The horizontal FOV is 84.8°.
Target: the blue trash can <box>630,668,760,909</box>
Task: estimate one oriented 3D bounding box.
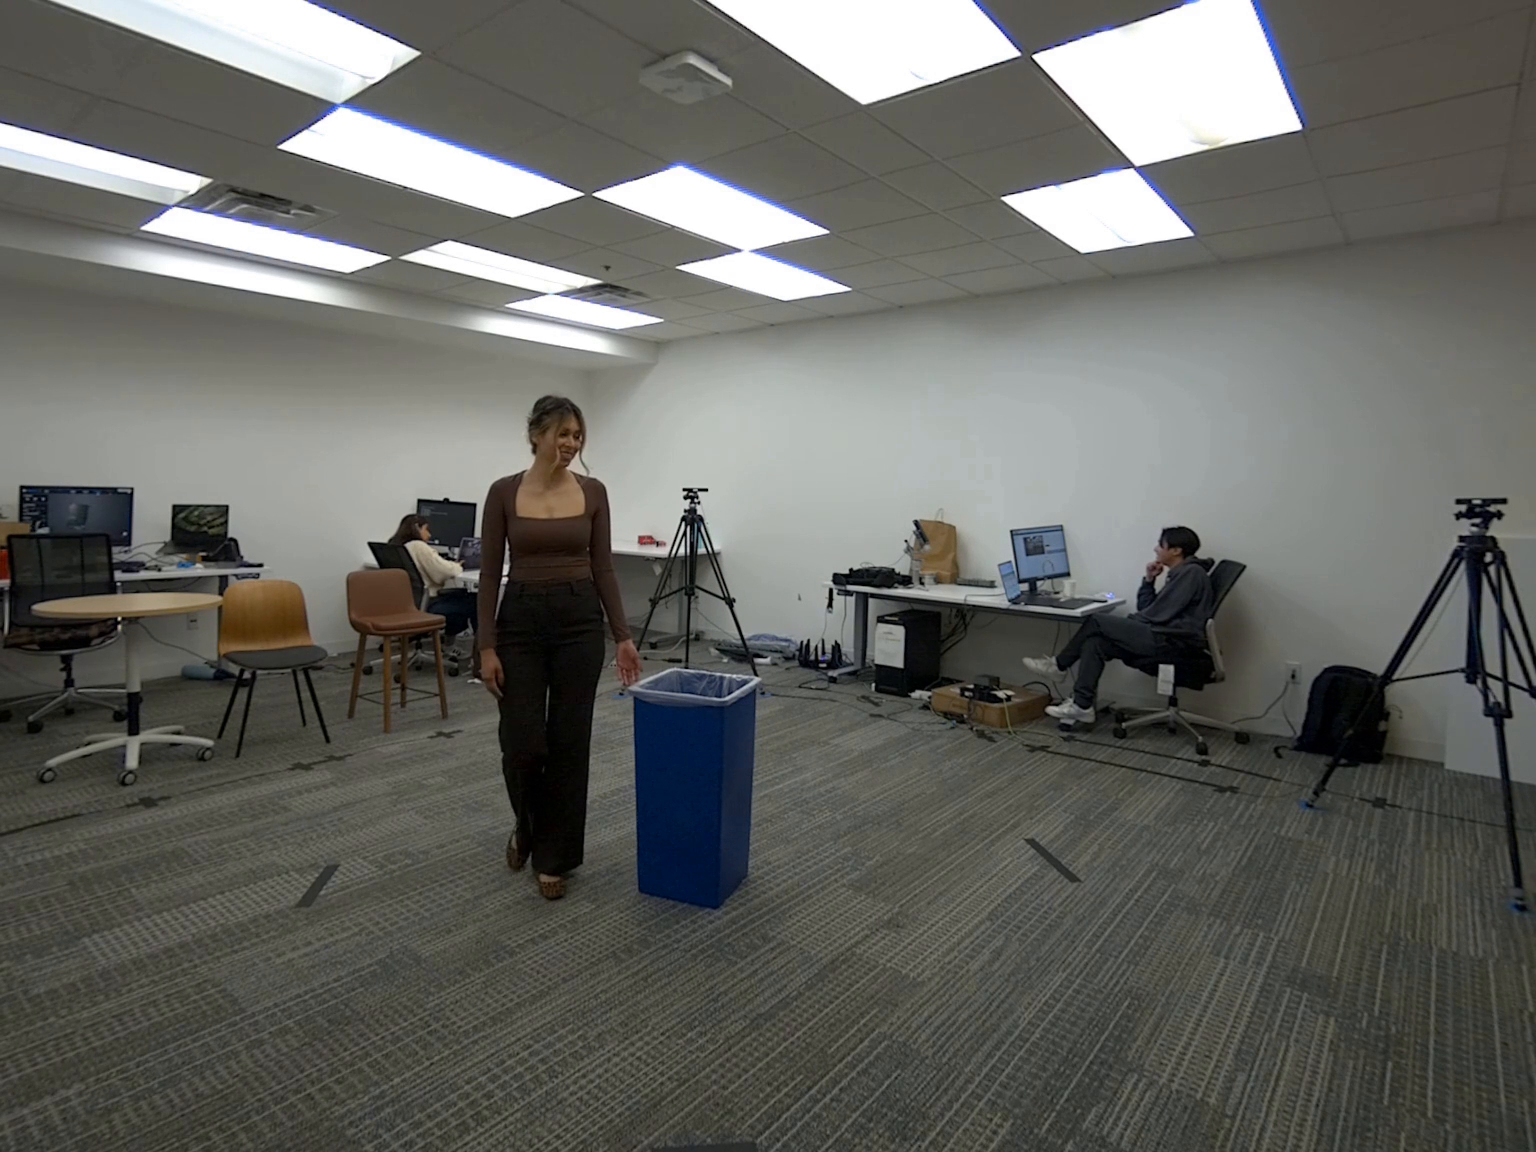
[{"bbox_3d":[-0.265,0.722,2.975,0.387,0.712,0.367,2,3,21],"label":"blue trash can"}]
